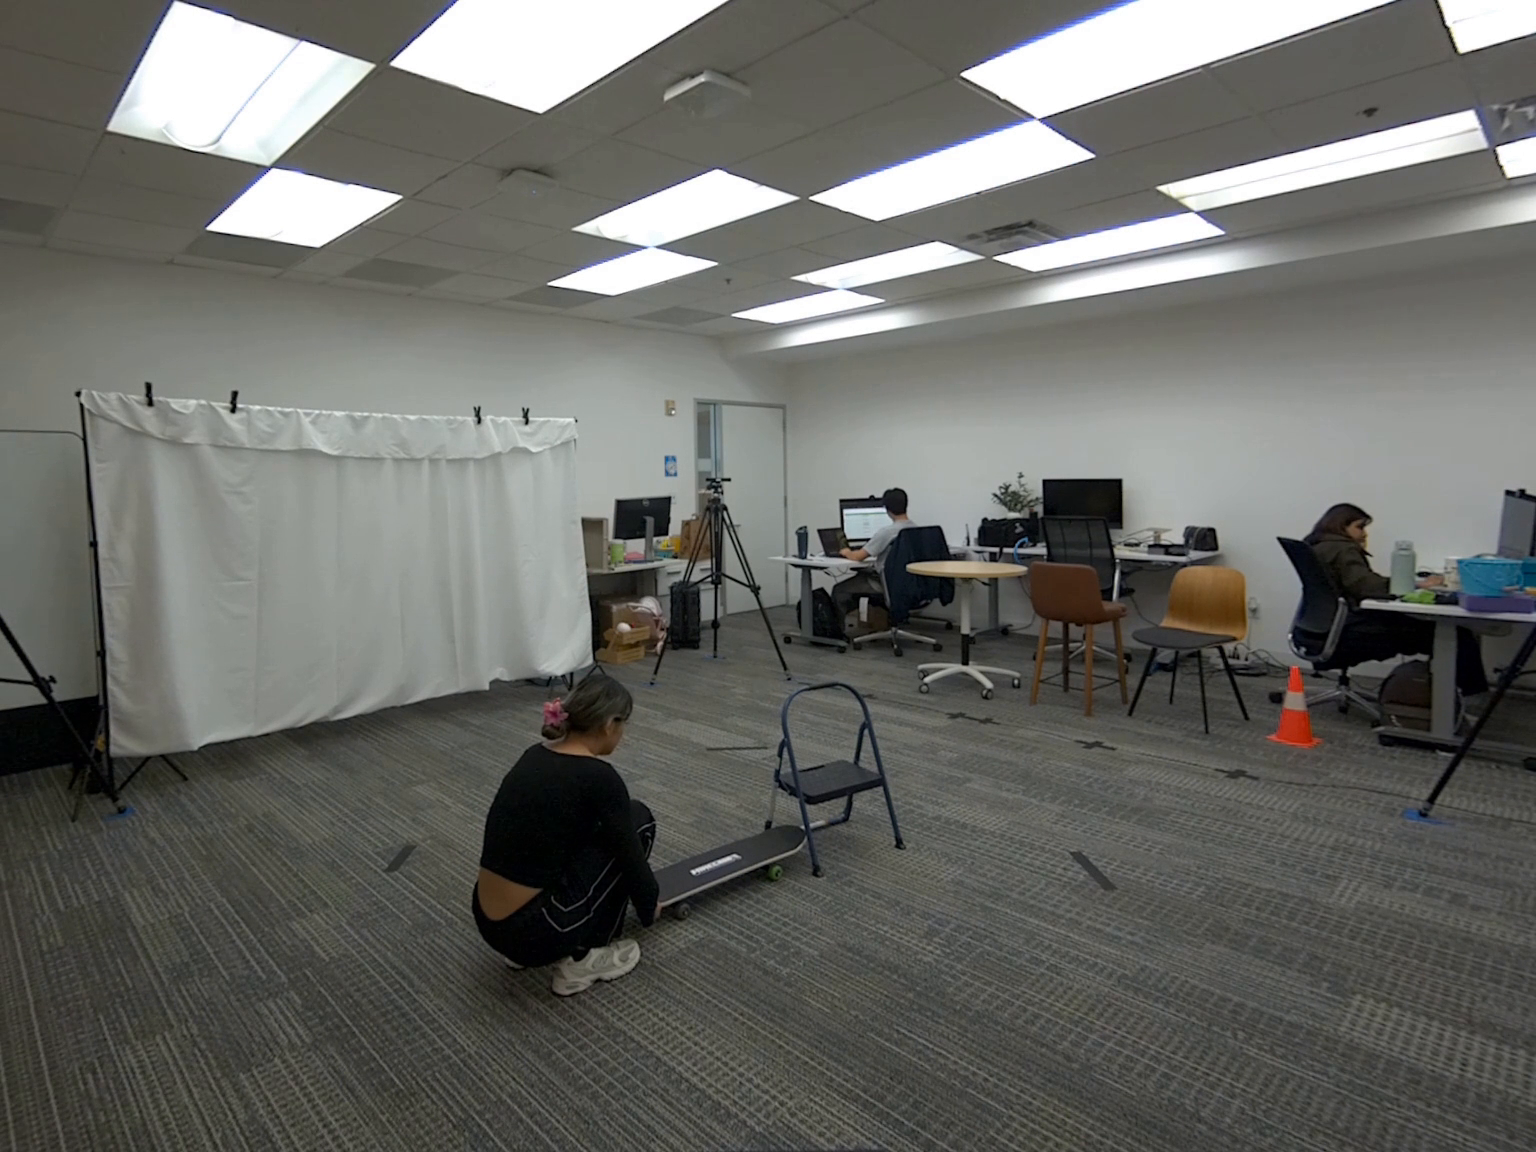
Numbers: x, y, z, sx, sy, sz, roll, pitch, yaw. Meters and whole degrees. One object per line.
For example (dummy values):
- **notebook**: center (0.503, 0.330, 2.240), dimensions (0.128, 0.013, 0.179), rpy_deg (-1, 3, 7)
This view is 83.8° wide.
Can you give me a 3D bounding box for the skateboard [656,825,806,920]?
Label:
- **skateboard**: center (-0.173, 1.012, 2.907), dimensions (0.765, 0.110, 0.199), rpy_deg (-7, 8, -39)
